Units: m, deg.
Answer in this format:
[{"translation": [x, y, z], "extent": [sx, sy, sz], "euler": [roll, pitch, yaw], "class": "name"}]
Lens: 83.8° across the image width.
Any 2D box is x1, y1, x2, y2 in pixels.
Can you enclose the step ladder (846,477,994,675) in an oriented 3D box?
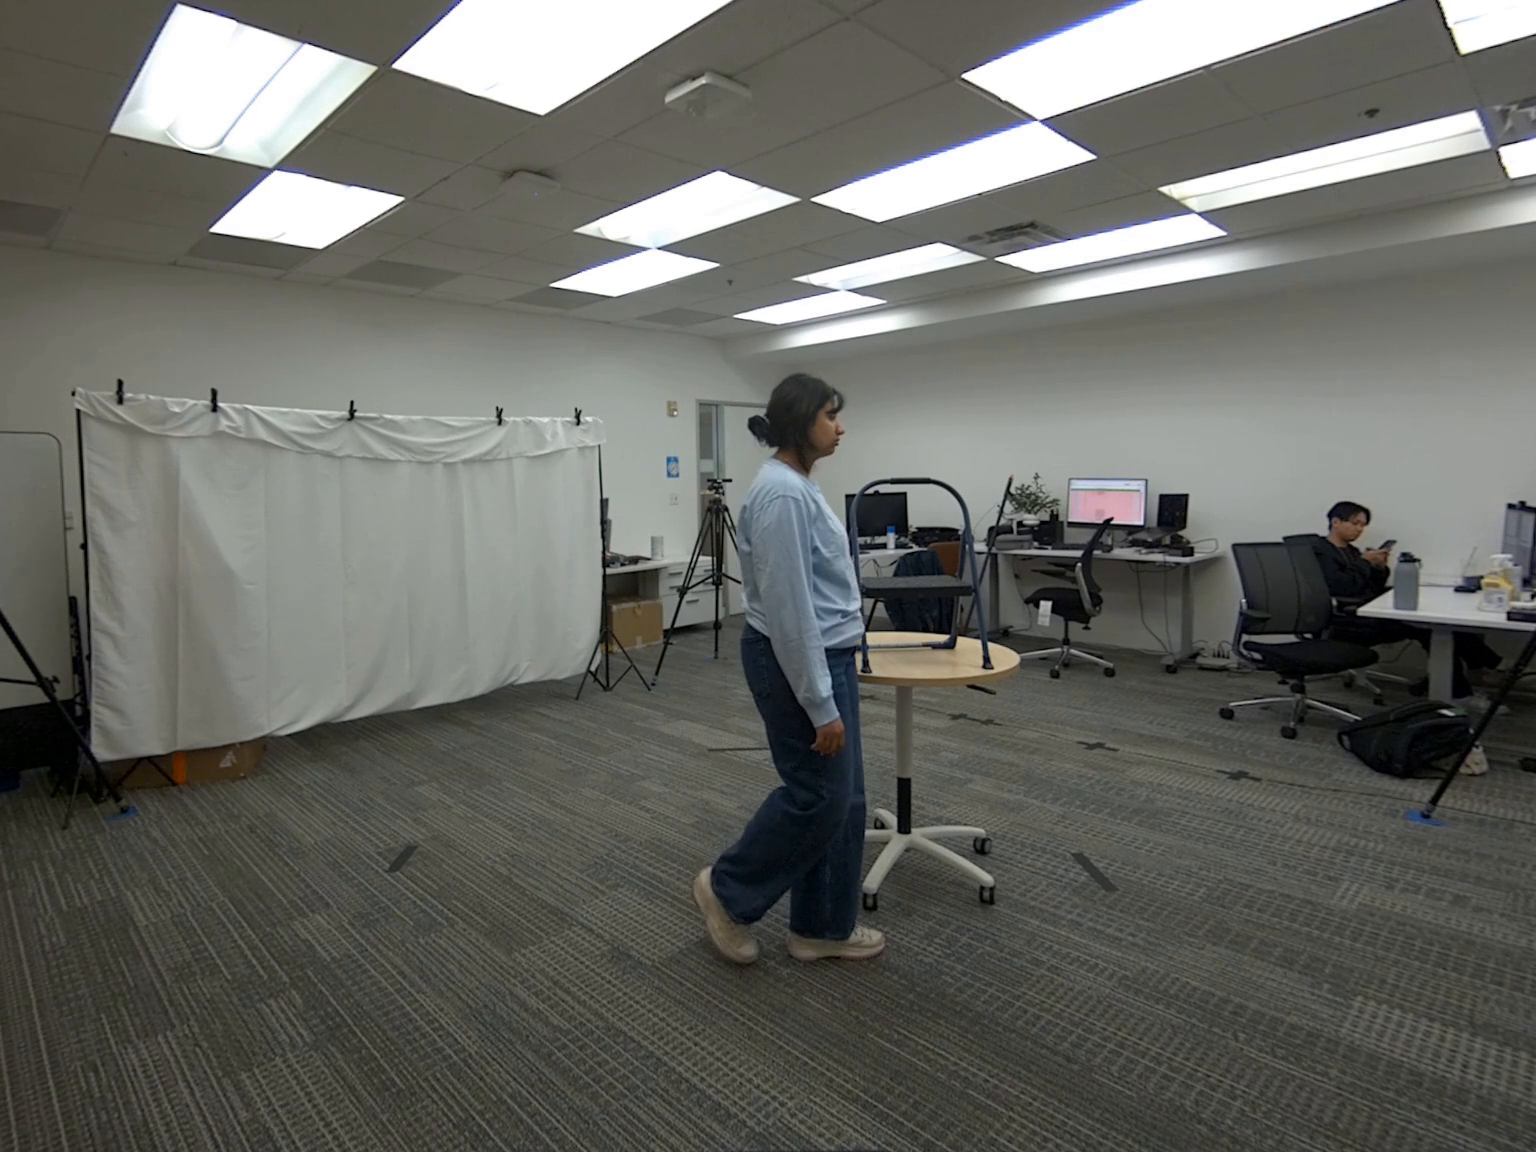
[{"translation": [0.488, -0.021, 2.847], "extent": [0.428, 0.603, 0.353], "euler": [-1, 5, -8], "class": "step ladder"}]
